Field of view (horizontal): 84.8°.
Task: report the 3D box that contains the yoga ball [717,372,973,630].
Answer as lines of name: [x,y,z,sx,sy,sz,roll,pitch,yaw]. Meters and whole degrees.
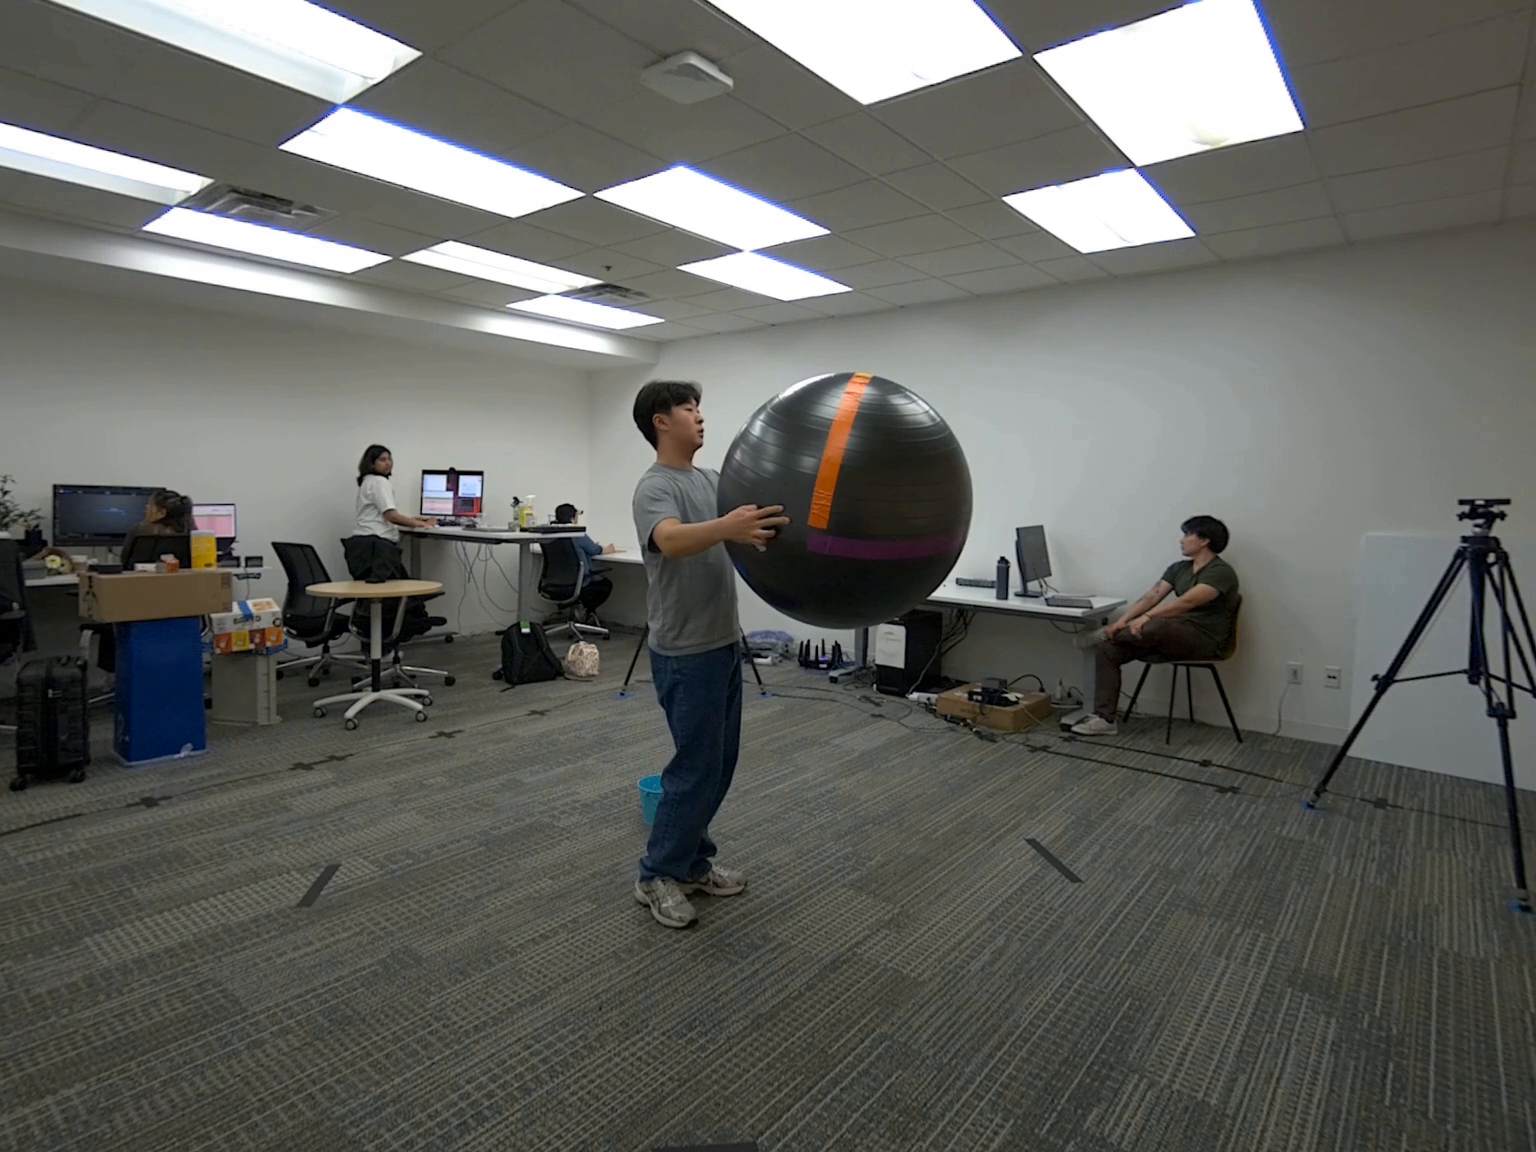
yoga ball: [0.227,-0.218,2.542,0.757,0.756,0.761,1,4,-2]
